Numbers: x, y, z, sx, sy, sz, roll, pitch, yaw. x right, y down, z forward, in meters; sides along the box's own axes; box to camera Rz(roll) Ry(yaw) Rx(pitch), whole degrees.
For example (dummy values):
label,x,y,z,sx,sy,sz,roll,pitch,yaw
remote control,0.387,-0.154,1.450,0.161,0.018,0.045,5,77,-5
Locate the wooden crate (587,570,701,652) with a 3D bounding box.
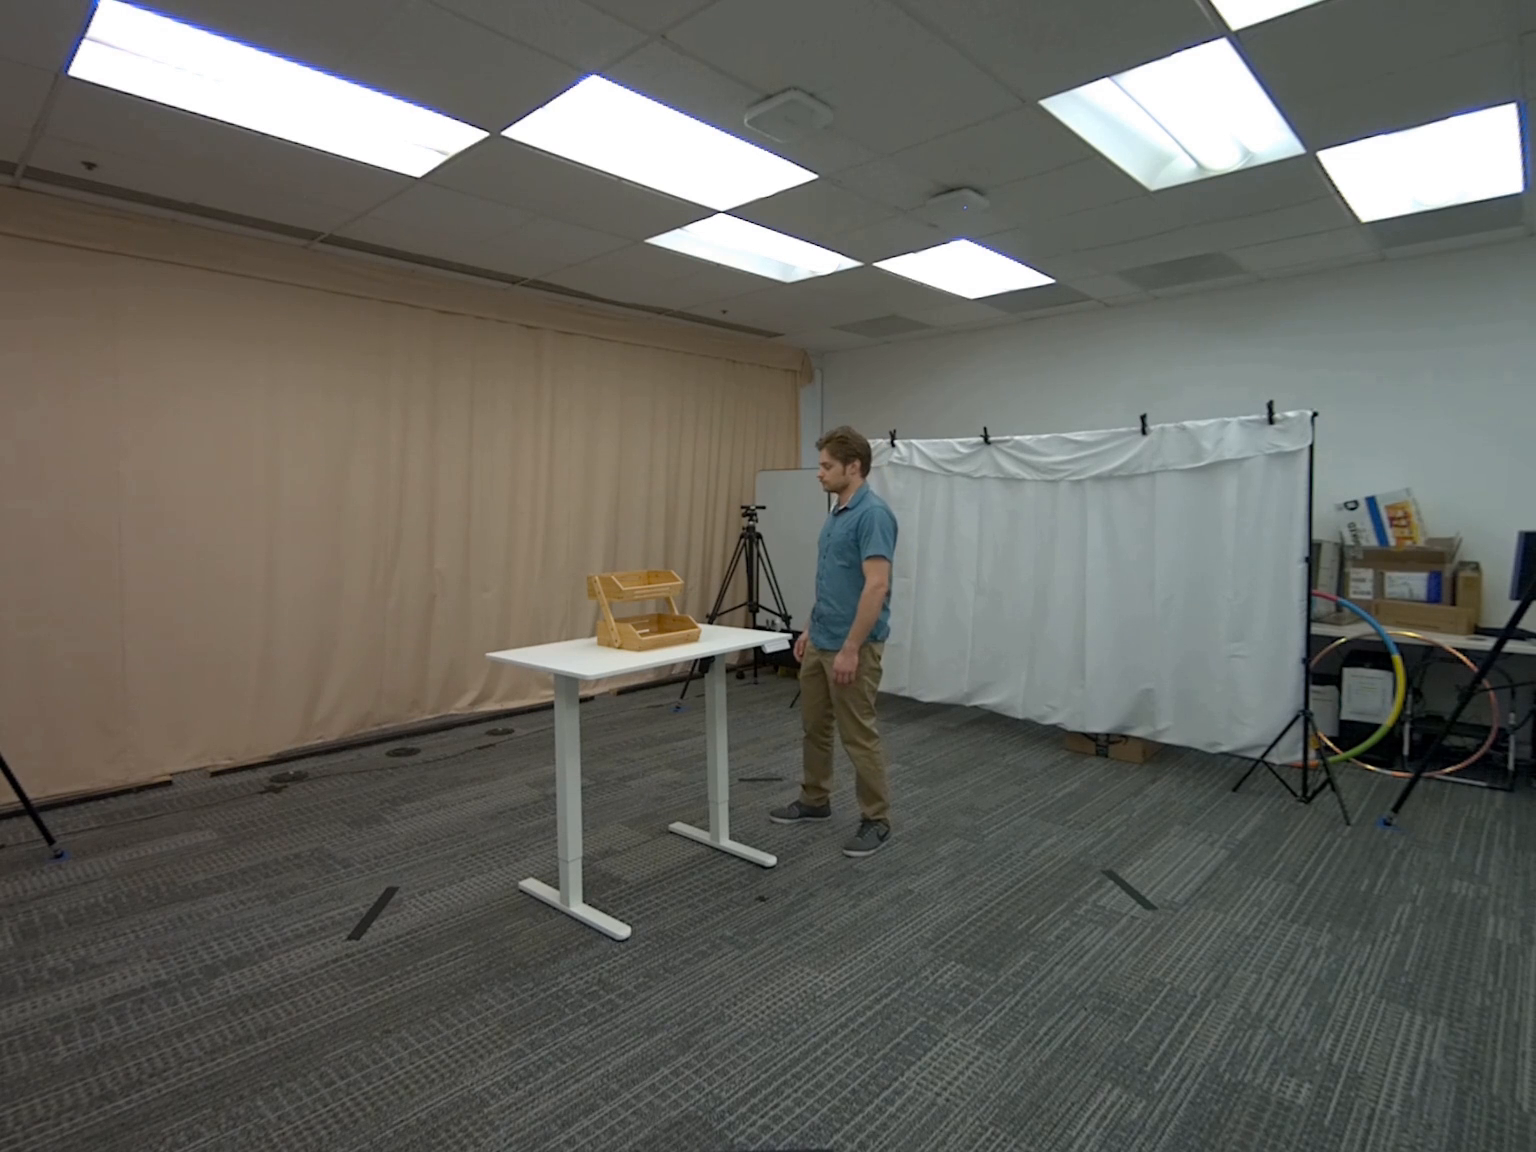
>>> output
label,x,y,z,sx,sy,sz,roll,pitch,yaw
wooden crate,-0.459,0.118,3.152,0.312,0.273,0.315,1,4,42
